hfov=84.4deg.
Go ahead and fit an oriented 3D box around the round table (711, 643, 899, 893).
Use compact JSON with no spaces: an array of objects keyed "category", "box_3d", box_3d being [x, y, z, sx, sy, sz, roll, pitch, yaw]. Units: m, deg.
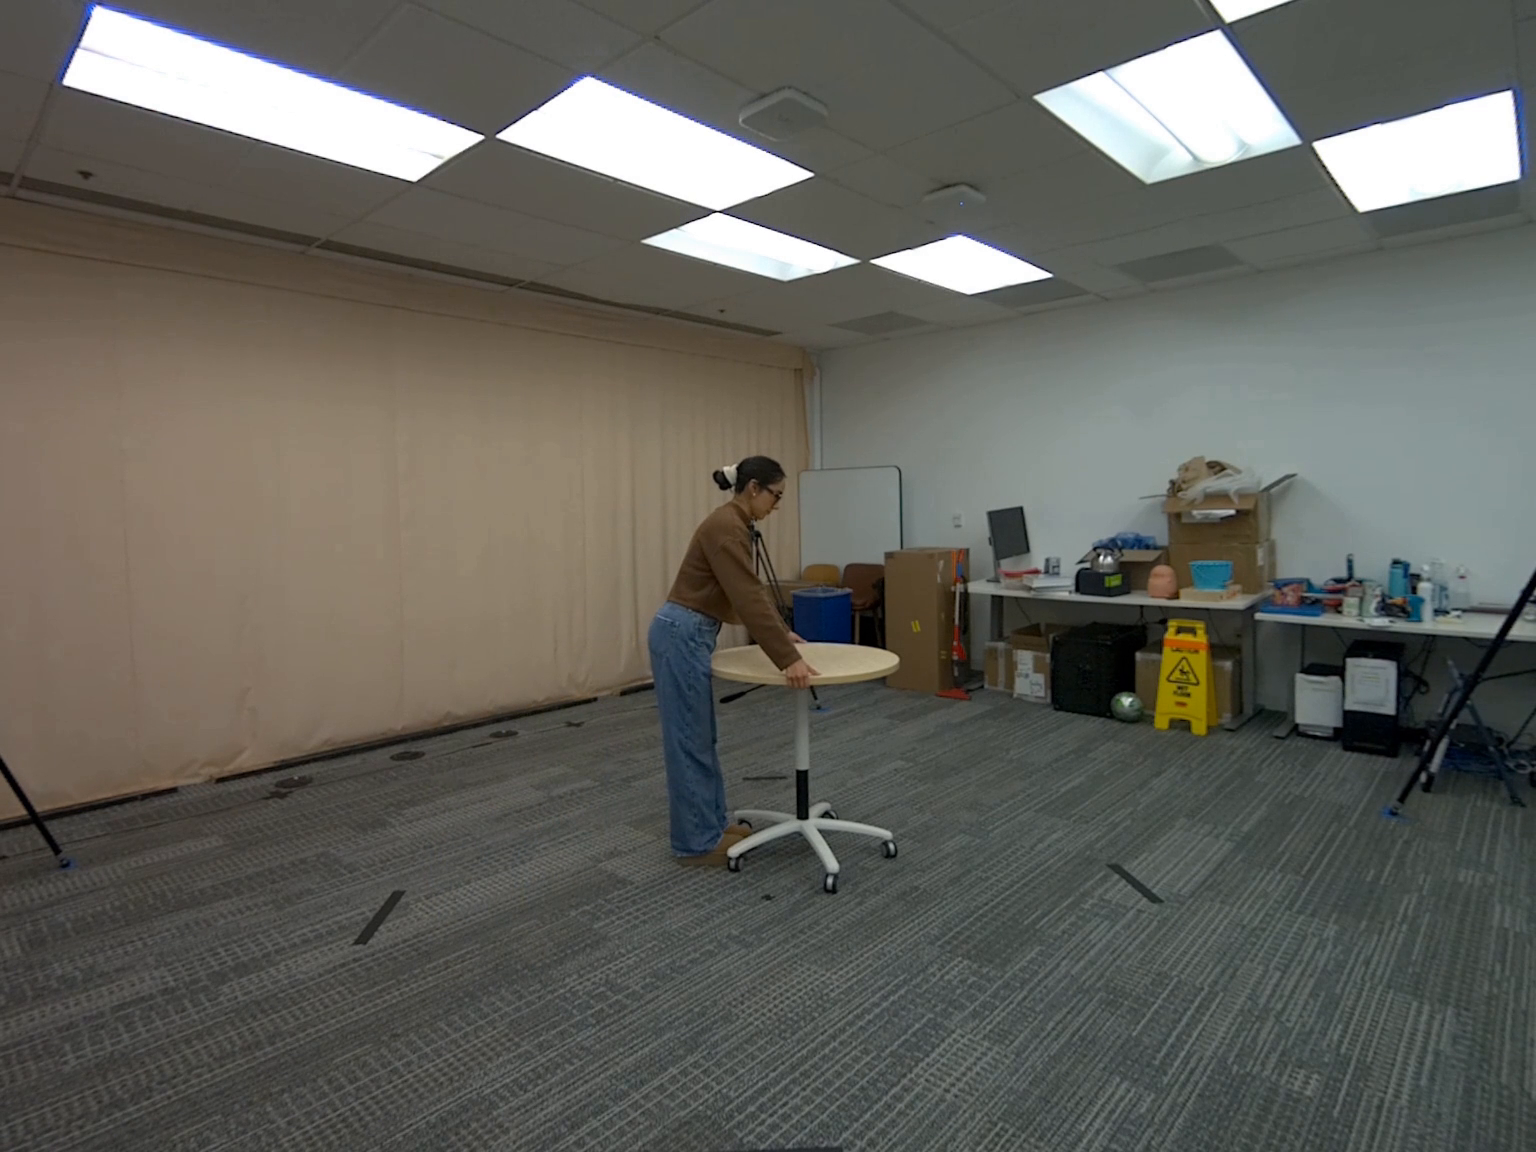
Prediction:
[{"category":"round table","box_3d":[0.155,0.714,3.345,0.784,0.785,0.787,-1,3,-2]}]
